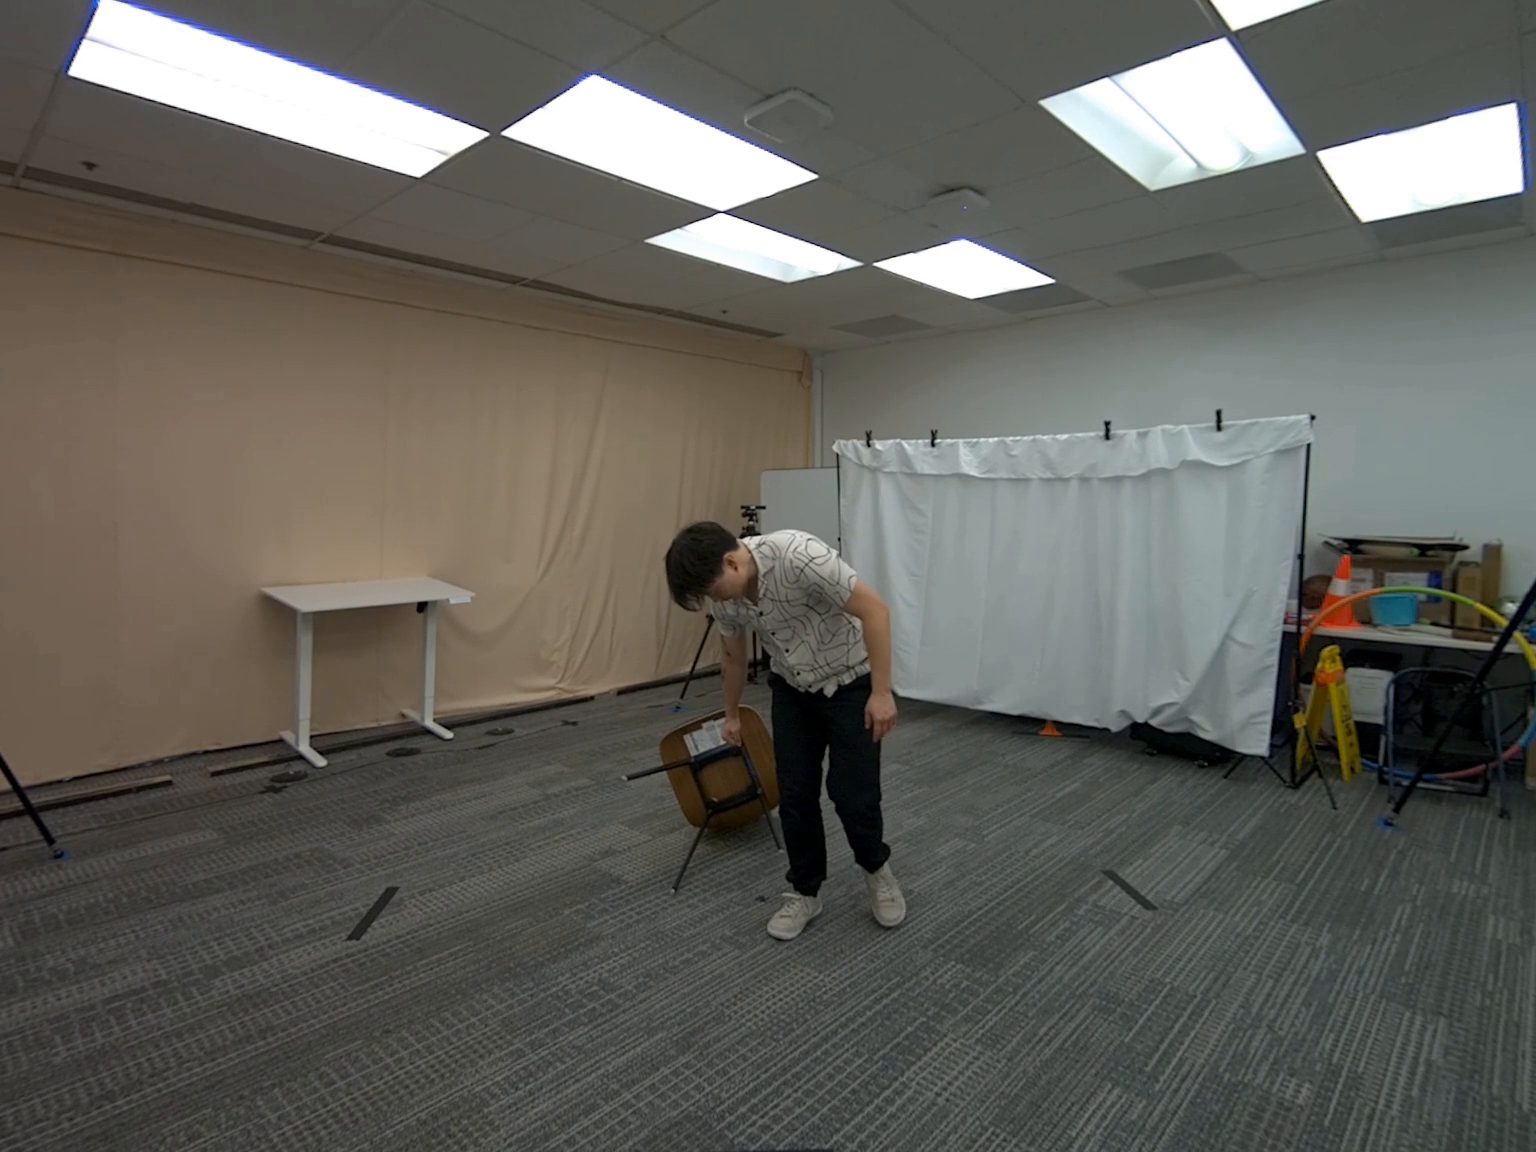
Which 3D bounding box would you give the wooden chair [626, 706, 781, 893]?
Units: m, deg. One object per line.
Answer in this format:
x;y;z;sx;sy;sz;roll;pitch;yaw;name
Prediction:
-0.184;0.822;3.401;0.482;0.526;0.865;-23;-5;9;wooden chair
